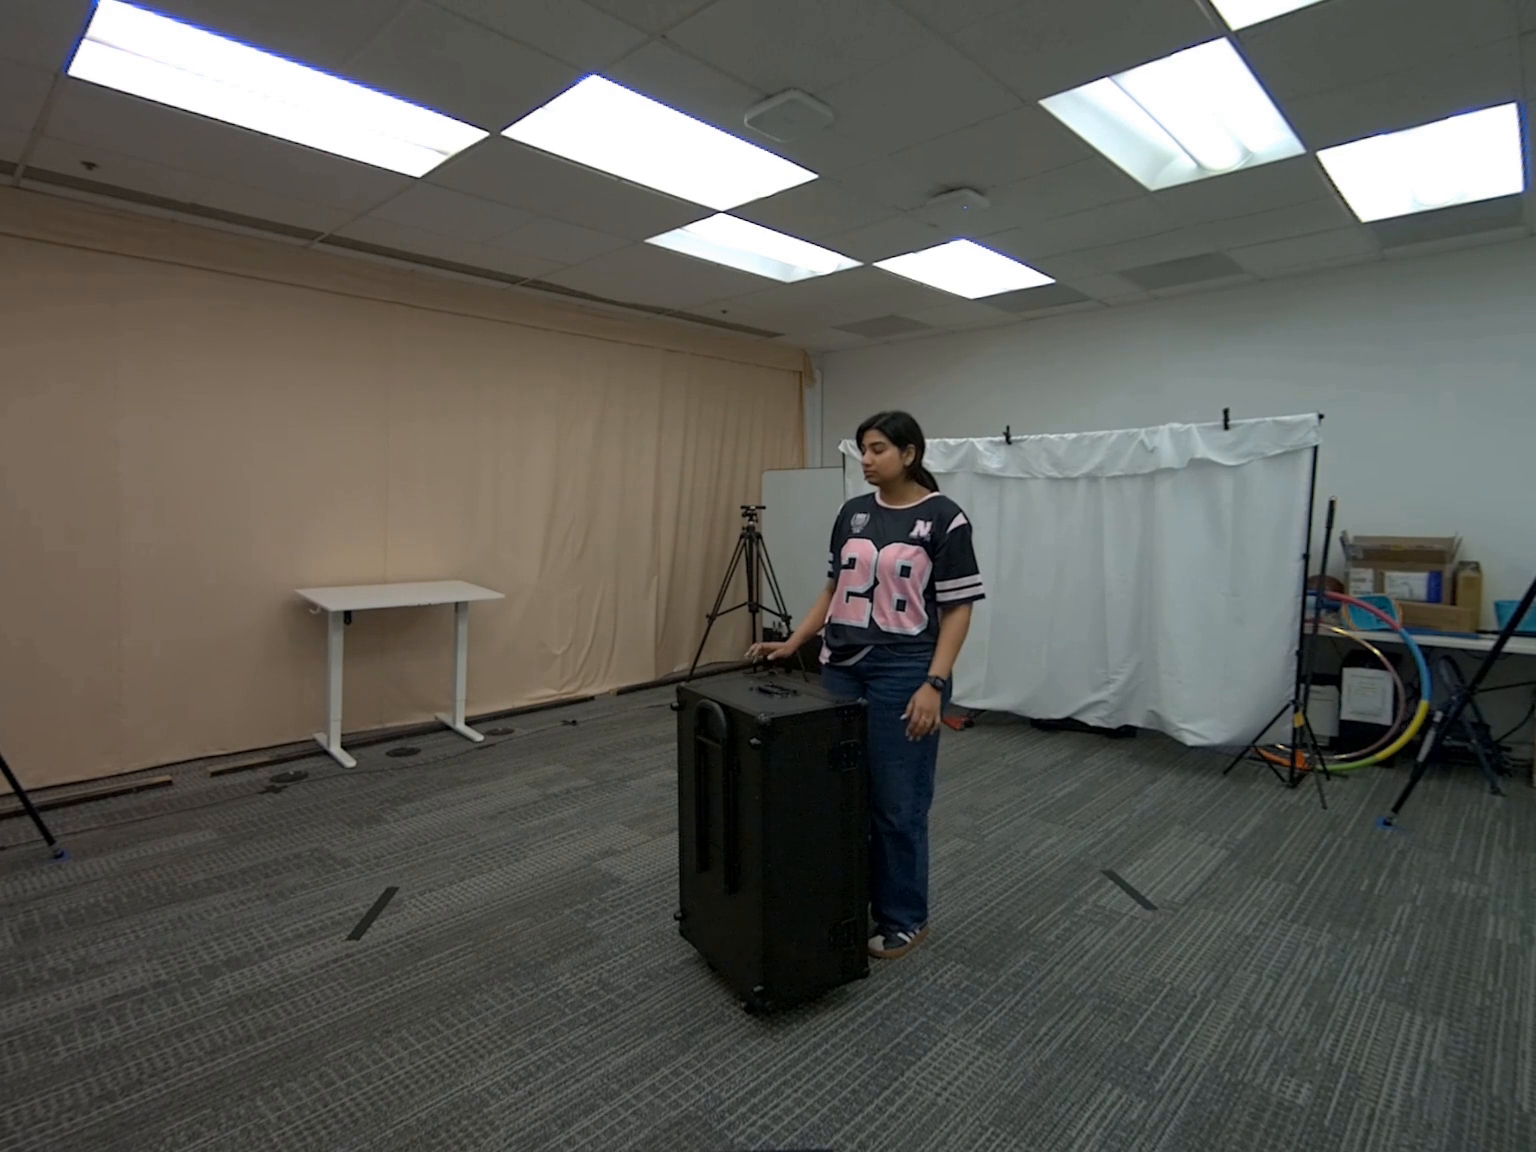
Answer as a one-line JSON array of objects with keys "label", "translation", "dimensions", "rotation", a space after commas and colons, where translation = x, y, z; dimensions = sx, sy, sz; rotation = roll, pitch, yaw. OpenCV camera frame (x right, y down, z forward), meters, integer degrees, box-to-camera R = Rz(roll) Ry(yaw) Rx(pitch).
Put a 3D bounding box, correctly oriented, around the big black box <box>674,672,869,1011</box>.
[{"label": "big black box", "translation": [0.001, 0.766, 2.450], "dimensions": [0.375, 0.867, 0.539], "rotation": [-2, 3, -31]}]
